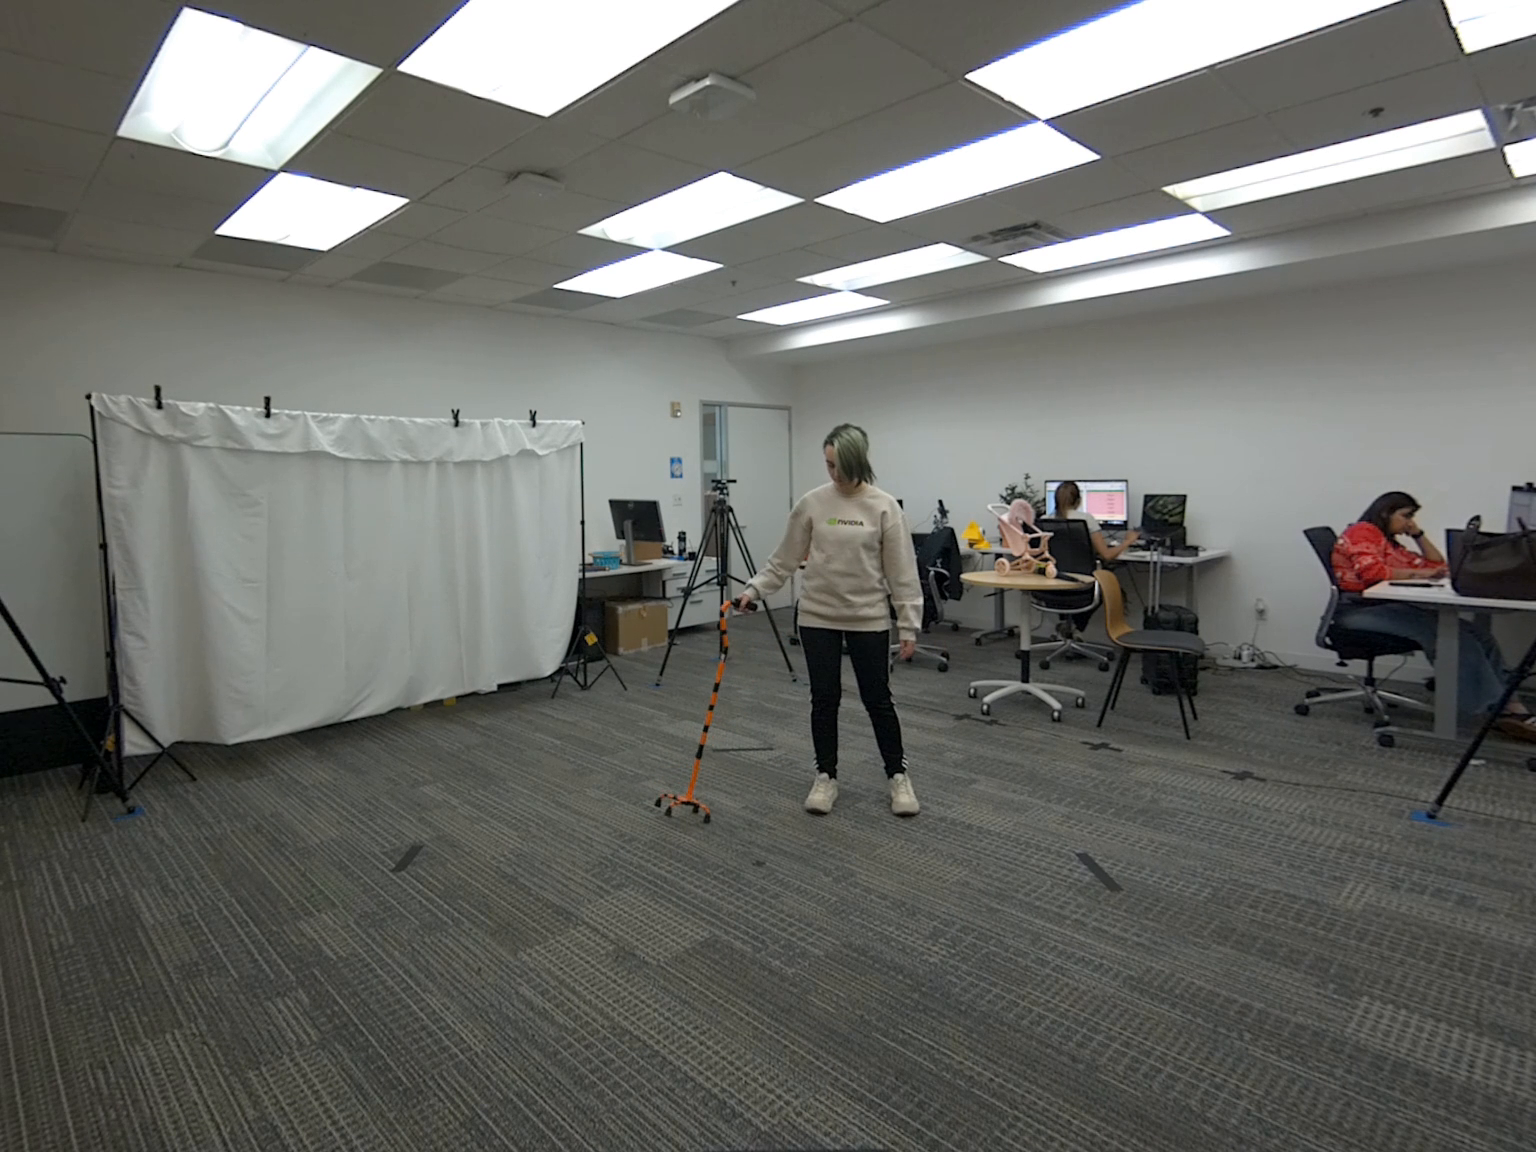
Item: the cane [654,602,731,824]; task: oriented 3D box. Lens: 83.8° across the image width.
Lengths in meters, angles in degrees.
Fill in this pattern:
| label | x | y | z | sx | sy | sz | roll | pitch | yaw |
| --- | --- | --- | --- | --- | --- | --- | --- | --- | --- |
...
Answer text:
| label | x | y | z | sx | sy | sz | roll | pitch | yaw |
| --- | --- | --- | --- | --- | --- | --- | --- | --- | --- |
| cane | -0.242 | 0.545 | 3.552 | 0.201 | 0.911 | 0.155 | 16 | -5 | -24 |
